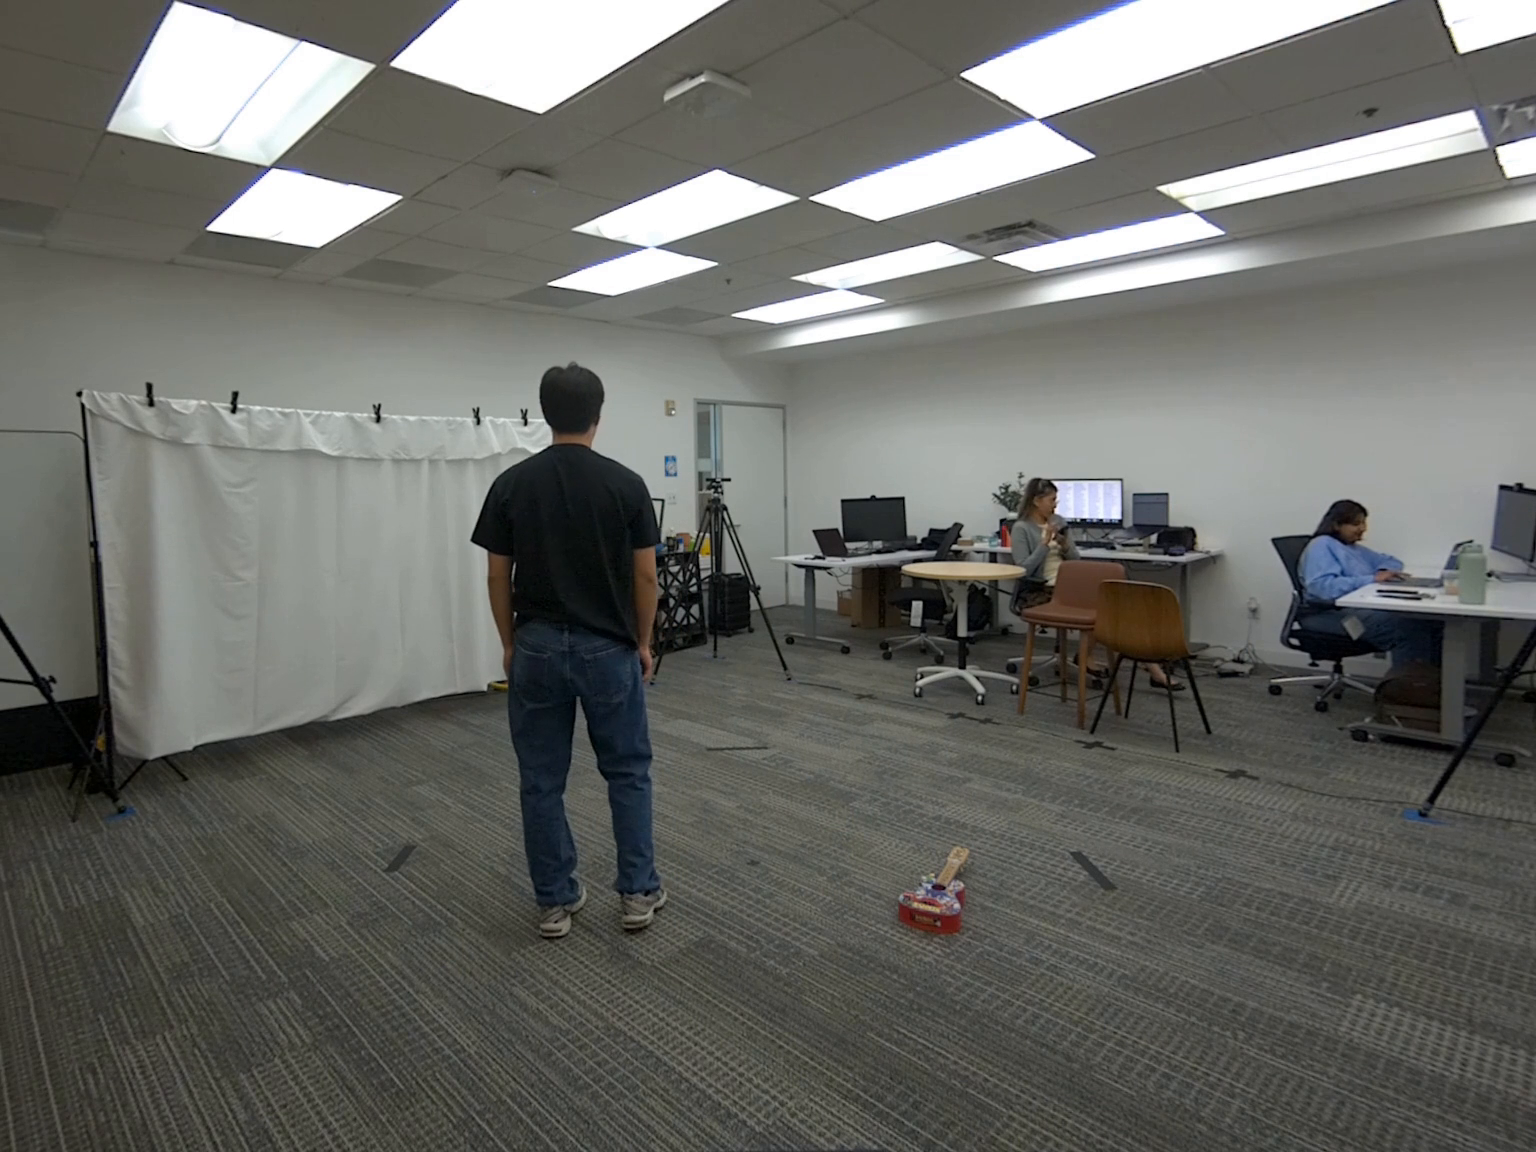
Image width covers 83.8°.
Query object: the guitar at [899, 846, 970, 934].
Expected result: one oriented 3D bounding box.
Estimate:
[{"bbox_3d":[0.618,1.031,2.821,0.199,0.070,0.486,4,8,36],"label":"guitar"}]
